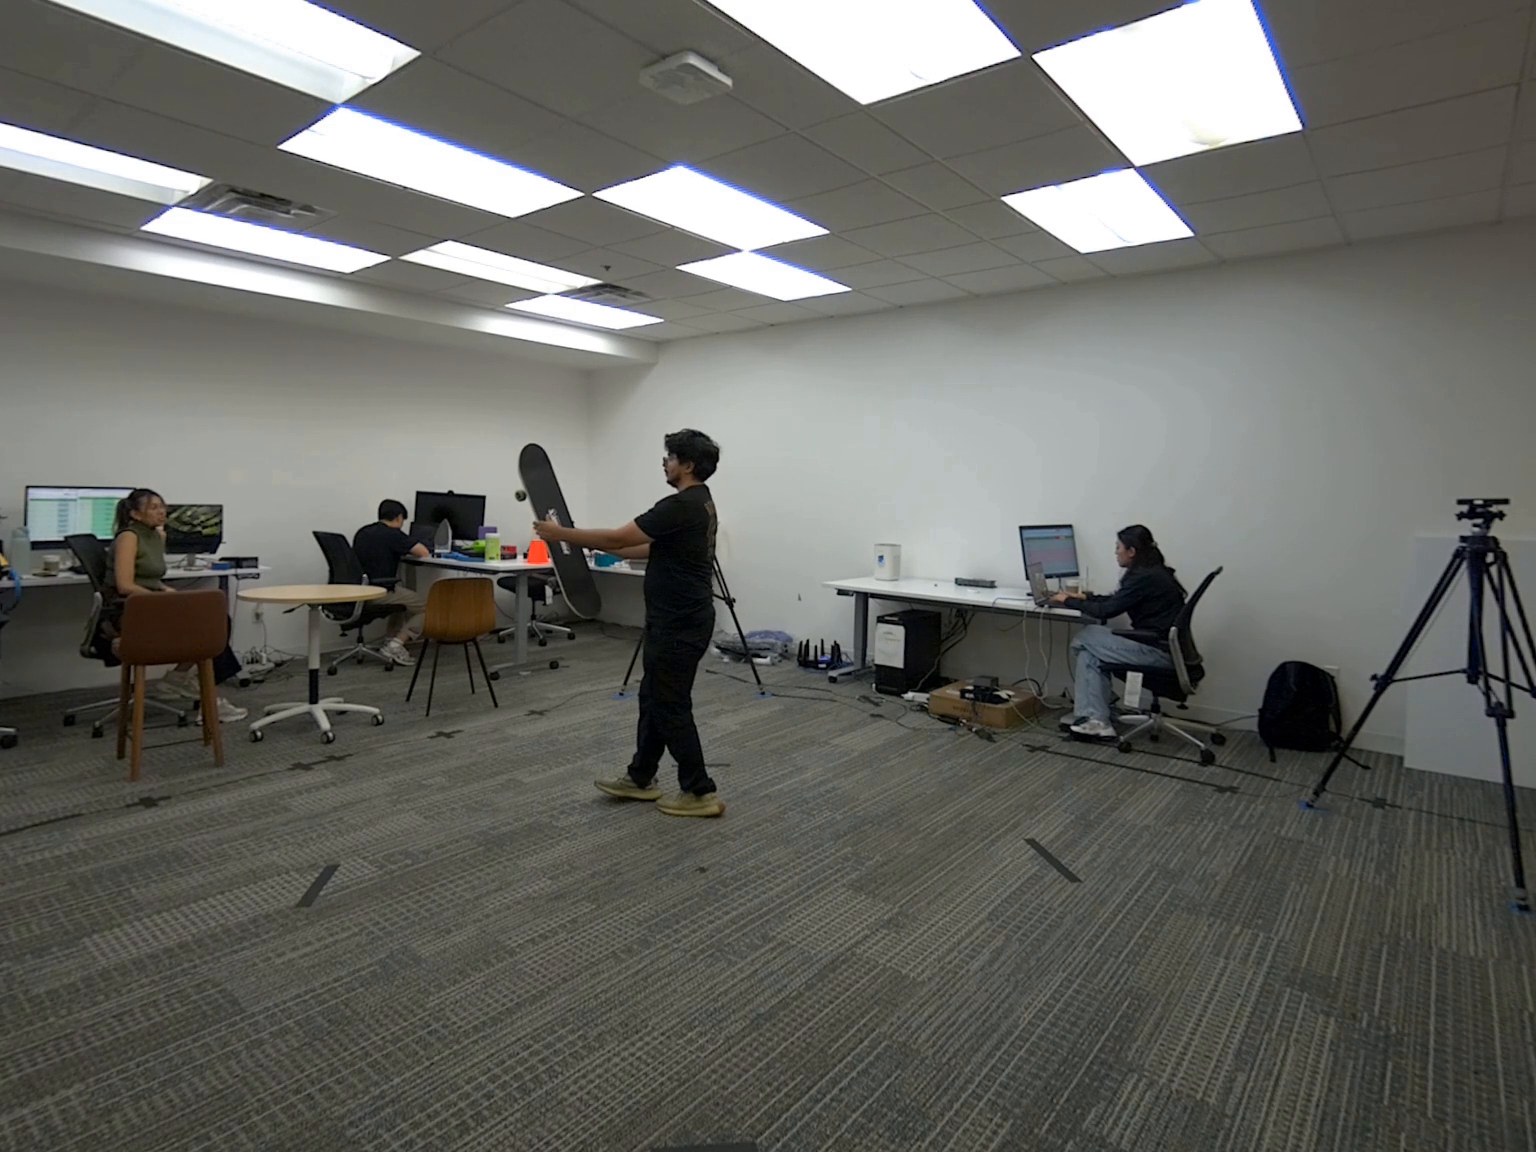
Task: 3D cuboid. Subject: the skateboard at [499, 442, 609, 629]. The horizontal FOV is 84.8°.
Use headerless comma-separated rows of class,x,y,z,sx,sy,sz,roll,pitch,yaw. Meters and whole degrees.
skateboard,-0.929,-0.183,3.651,0.112,0.785,0.190,-20,0,34
